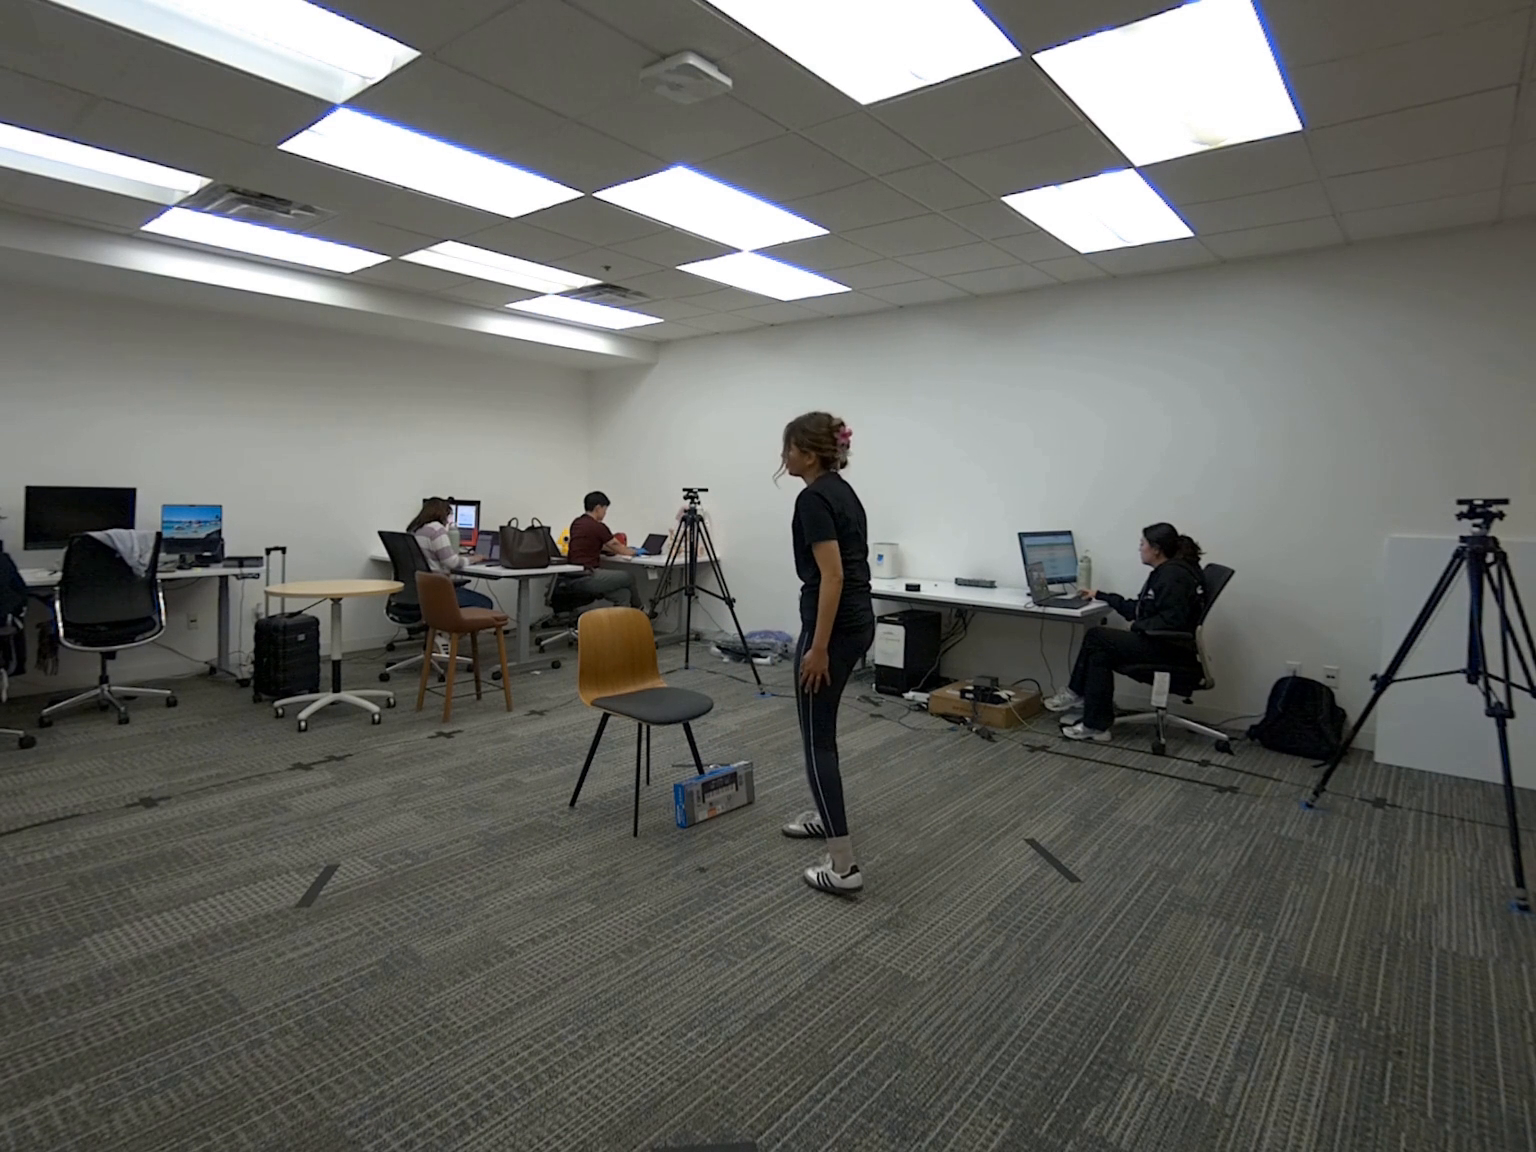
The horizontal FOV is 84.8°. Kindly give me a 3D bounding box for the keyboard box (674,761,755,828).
[{"bbox_3d":[-0.233,0.928,3.656,0.061,0.176,0.424,-6,0,42],"label":"keyboard box"}]
